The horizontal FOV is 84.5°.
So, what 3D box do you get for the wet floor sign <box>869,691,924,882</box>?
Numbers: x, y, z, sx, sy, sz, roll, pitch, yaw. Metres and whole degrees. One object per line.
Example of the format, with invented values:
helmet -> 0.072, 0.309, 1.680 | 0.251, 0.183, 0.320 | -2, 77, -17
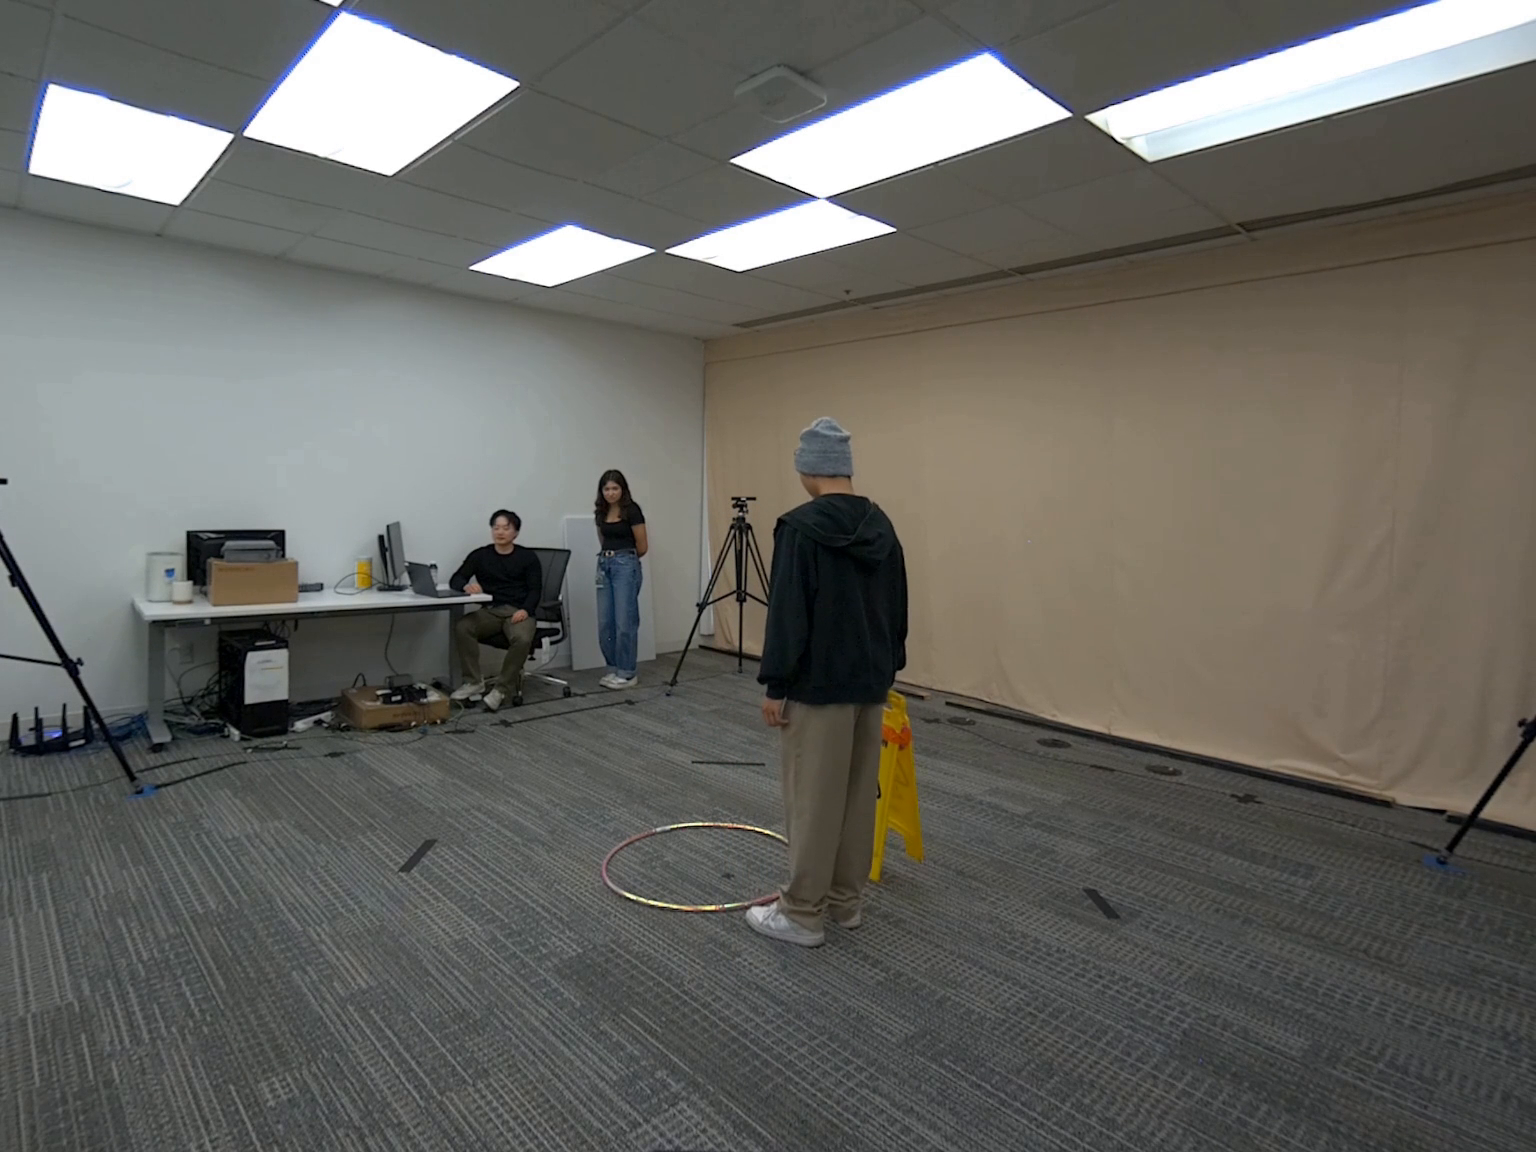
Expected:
wet floor sign -> 0.393, 0.723, 3.073 | 0.283, 0.642, 0.290 | -5, 11, -38
